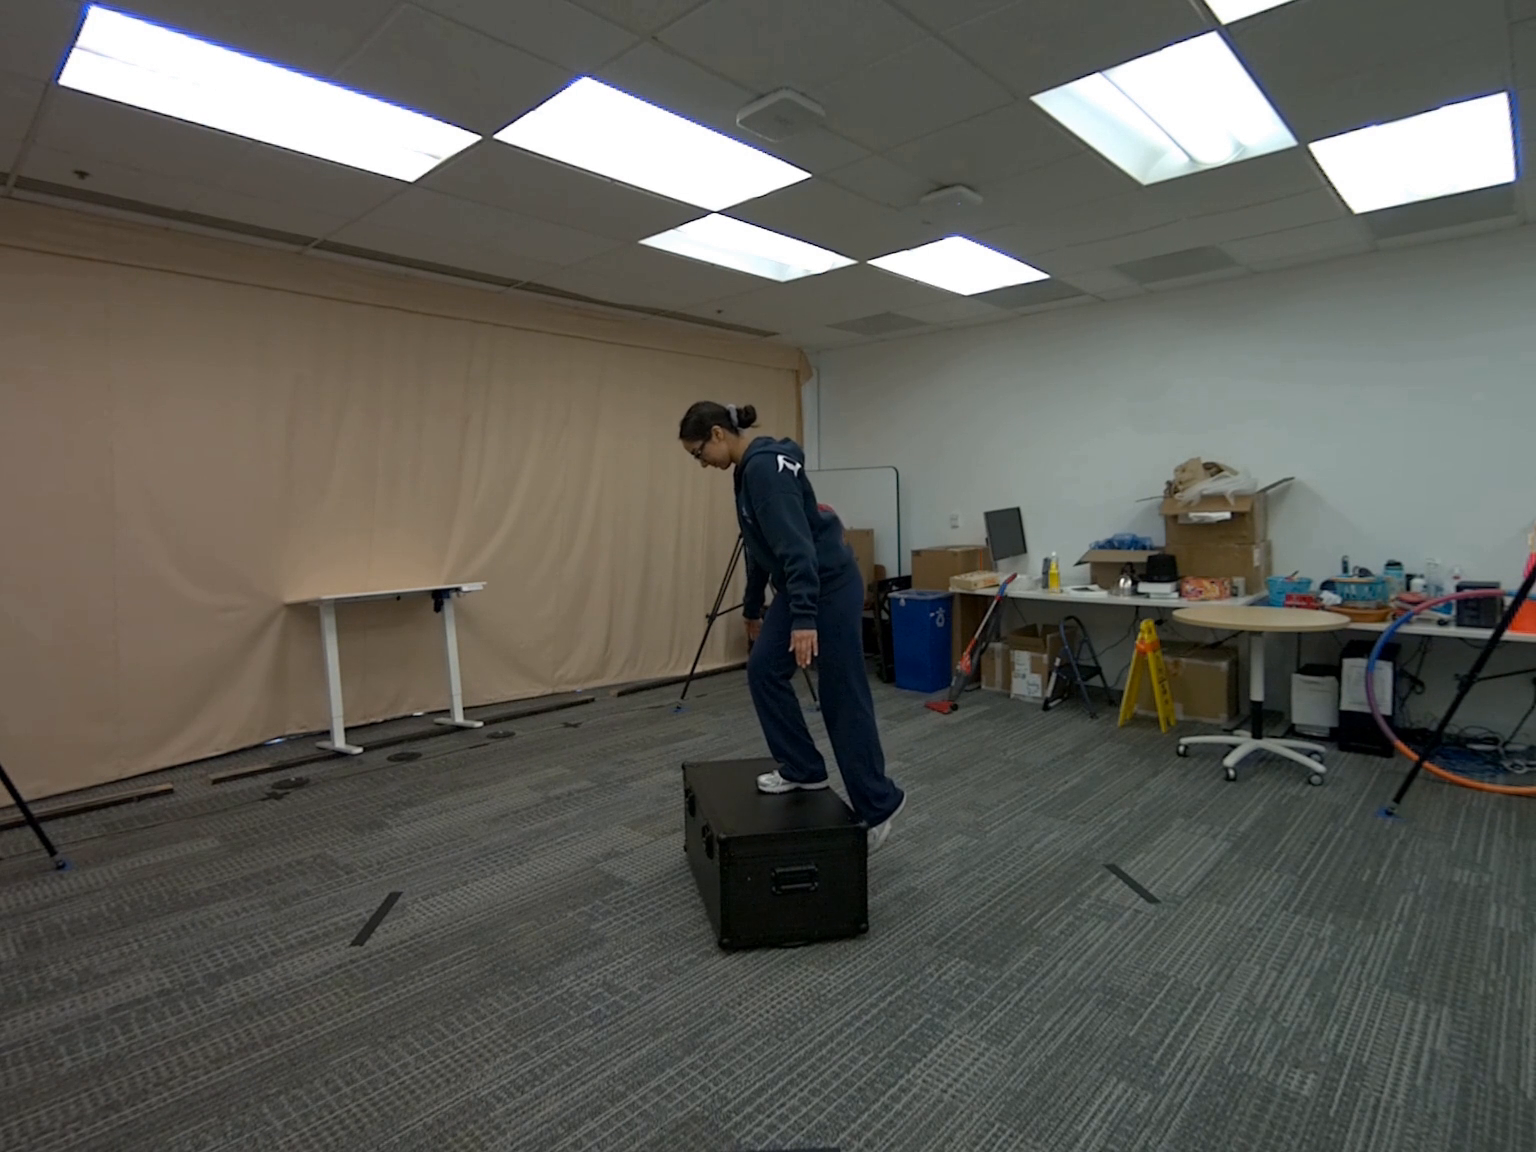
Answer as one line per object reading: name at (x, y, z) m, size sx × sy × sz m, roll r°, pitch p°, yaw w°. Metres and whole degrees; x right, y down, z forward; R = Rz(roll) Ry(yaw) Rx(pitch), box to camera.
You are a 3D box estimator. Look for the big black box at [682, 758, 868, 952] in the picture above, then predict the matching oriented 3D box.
big black box at (-0.014, 0.947, 3.045) m, size 0.514 × 0.395 × 0.875 m, roll -2°, pitch 5°, yaw -13°
